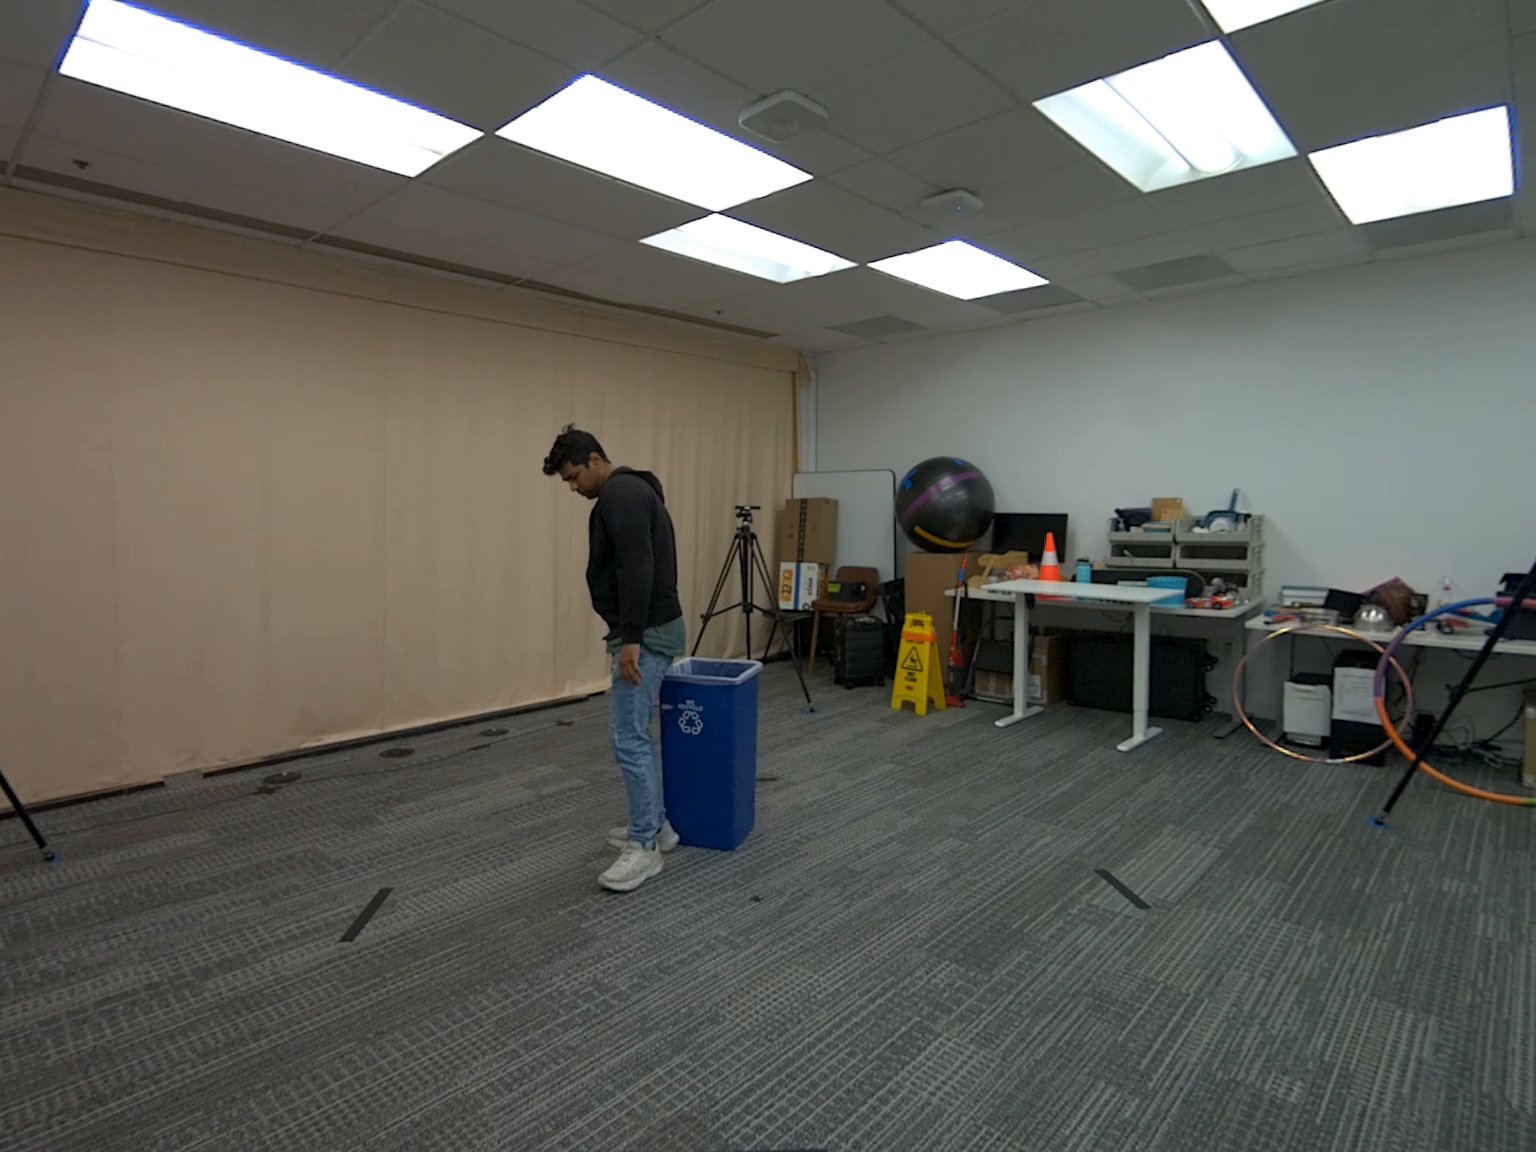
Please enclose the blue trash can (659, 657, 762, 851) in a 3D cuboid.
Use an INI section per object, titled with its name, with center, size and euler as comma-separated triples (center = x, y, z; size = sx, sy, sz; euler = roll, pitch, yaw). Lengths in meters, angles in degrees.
[blue trash can]
center = -0.239, 0.736, 3.548
size = 0.386, 0.712, 0.367
euler = 1, 3, 18
